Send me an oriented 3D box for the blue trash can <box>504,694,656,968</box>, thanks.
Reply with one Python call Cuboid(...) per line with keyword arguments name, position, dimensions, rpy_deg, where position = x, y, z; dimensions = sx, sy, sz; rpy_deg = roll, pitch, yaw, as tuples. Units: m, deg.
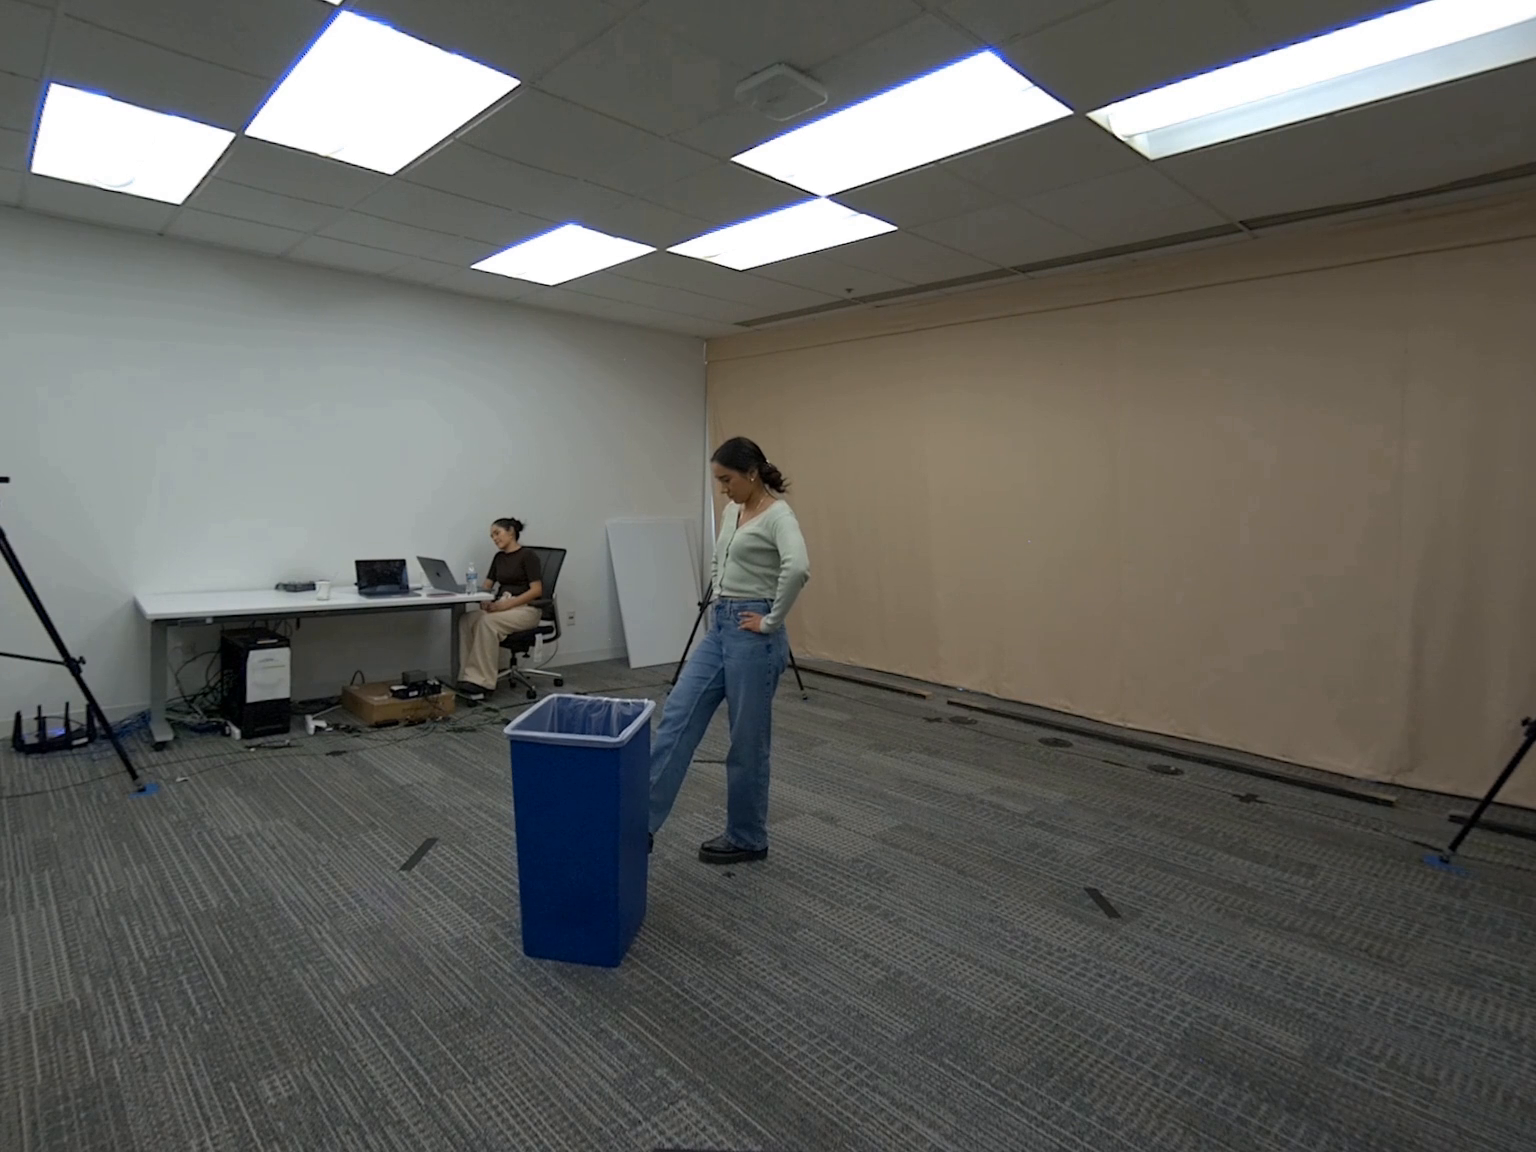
Cuboid(name="blue trash can", position=(-0.577, 0.779, 2.592), dimensions=(0.377, 0.709, 0.377), rpy_deg=(2, 8, 8))
